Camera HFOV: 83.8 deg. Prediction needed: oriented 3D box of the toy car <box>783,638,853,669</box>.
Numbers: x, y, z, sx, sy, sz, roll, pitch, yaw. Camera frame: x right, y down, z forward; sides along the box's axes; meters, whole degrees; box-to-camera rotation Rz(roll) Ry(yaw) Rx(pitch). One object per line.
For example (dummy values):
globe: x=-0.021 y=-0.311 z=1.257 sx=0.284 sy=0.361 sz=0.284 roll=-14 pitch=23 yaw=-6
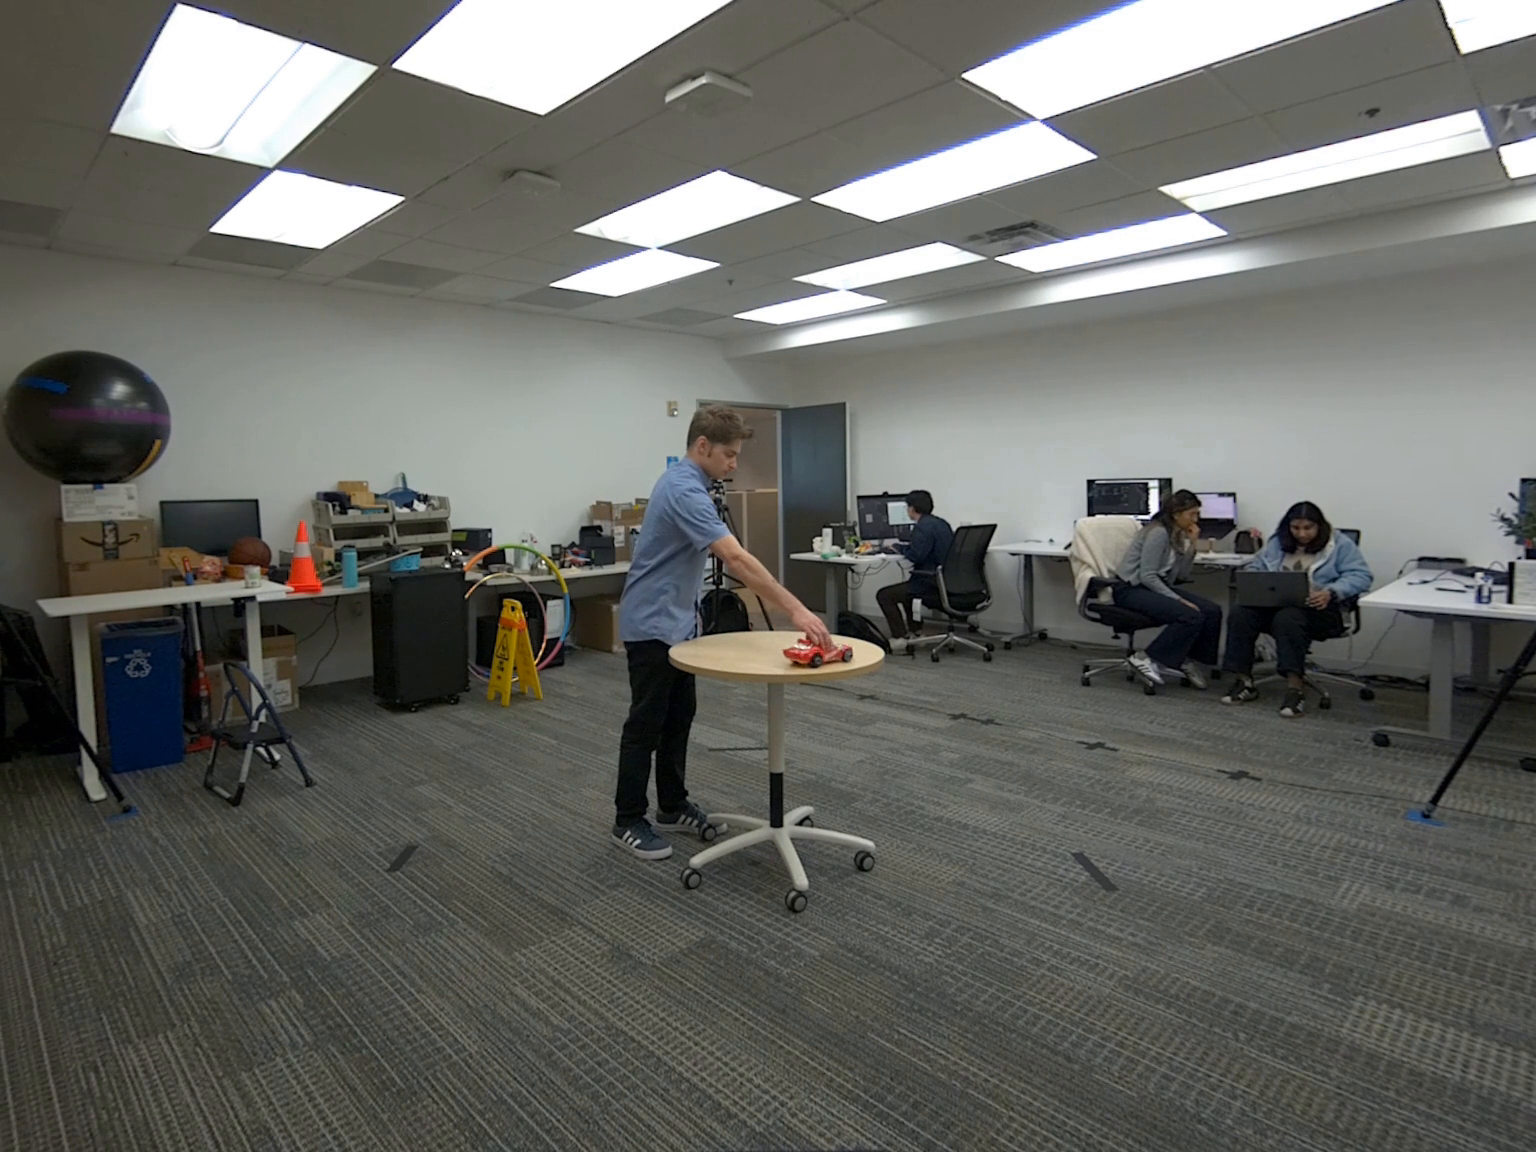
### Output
toy car: x=0.166 y=0.258 z=2.834 sx=0.246 sy=0.083 sz=0.134 roll=9 pitch=-1 yaw=-39
